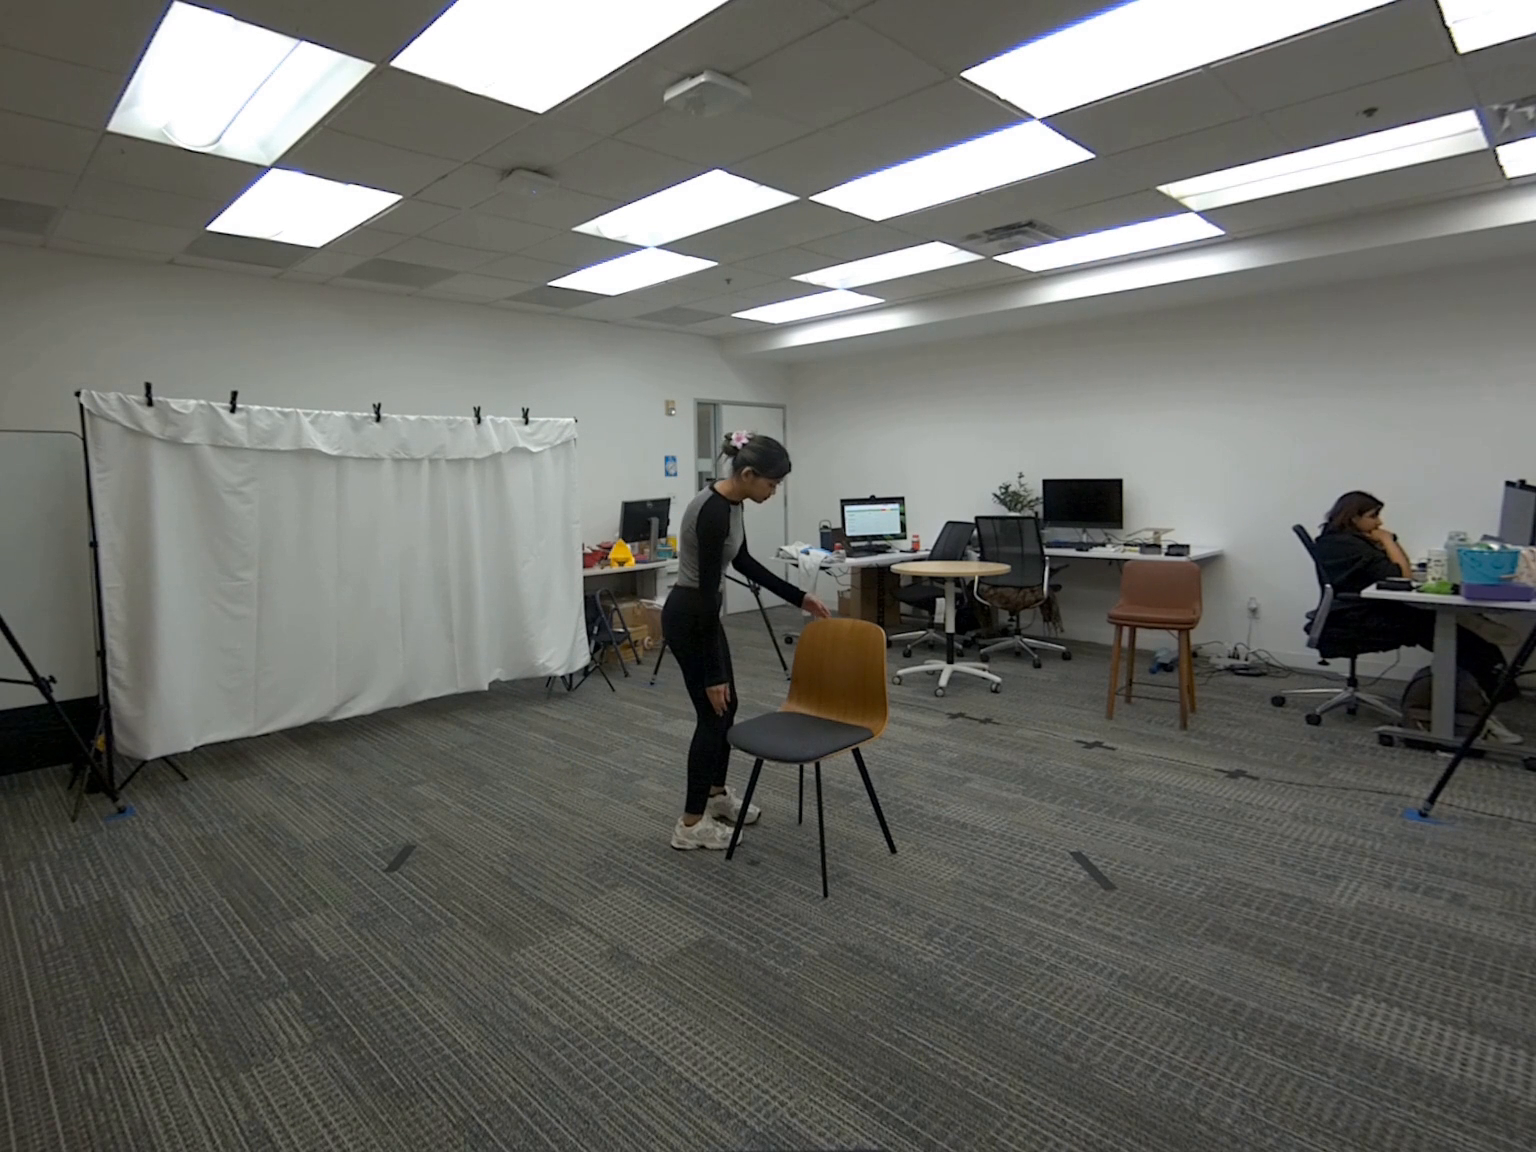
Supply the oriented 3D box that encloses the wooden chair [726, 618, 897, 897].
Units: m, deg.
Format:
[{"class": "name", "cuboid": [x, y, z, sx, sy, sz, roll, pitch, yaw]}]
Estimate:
[{"class": "wooden chair", "cuboid": [0.154, 0.610, 3.105, 0.492, 0.877, 0.508, 3, 1, 40]}]
